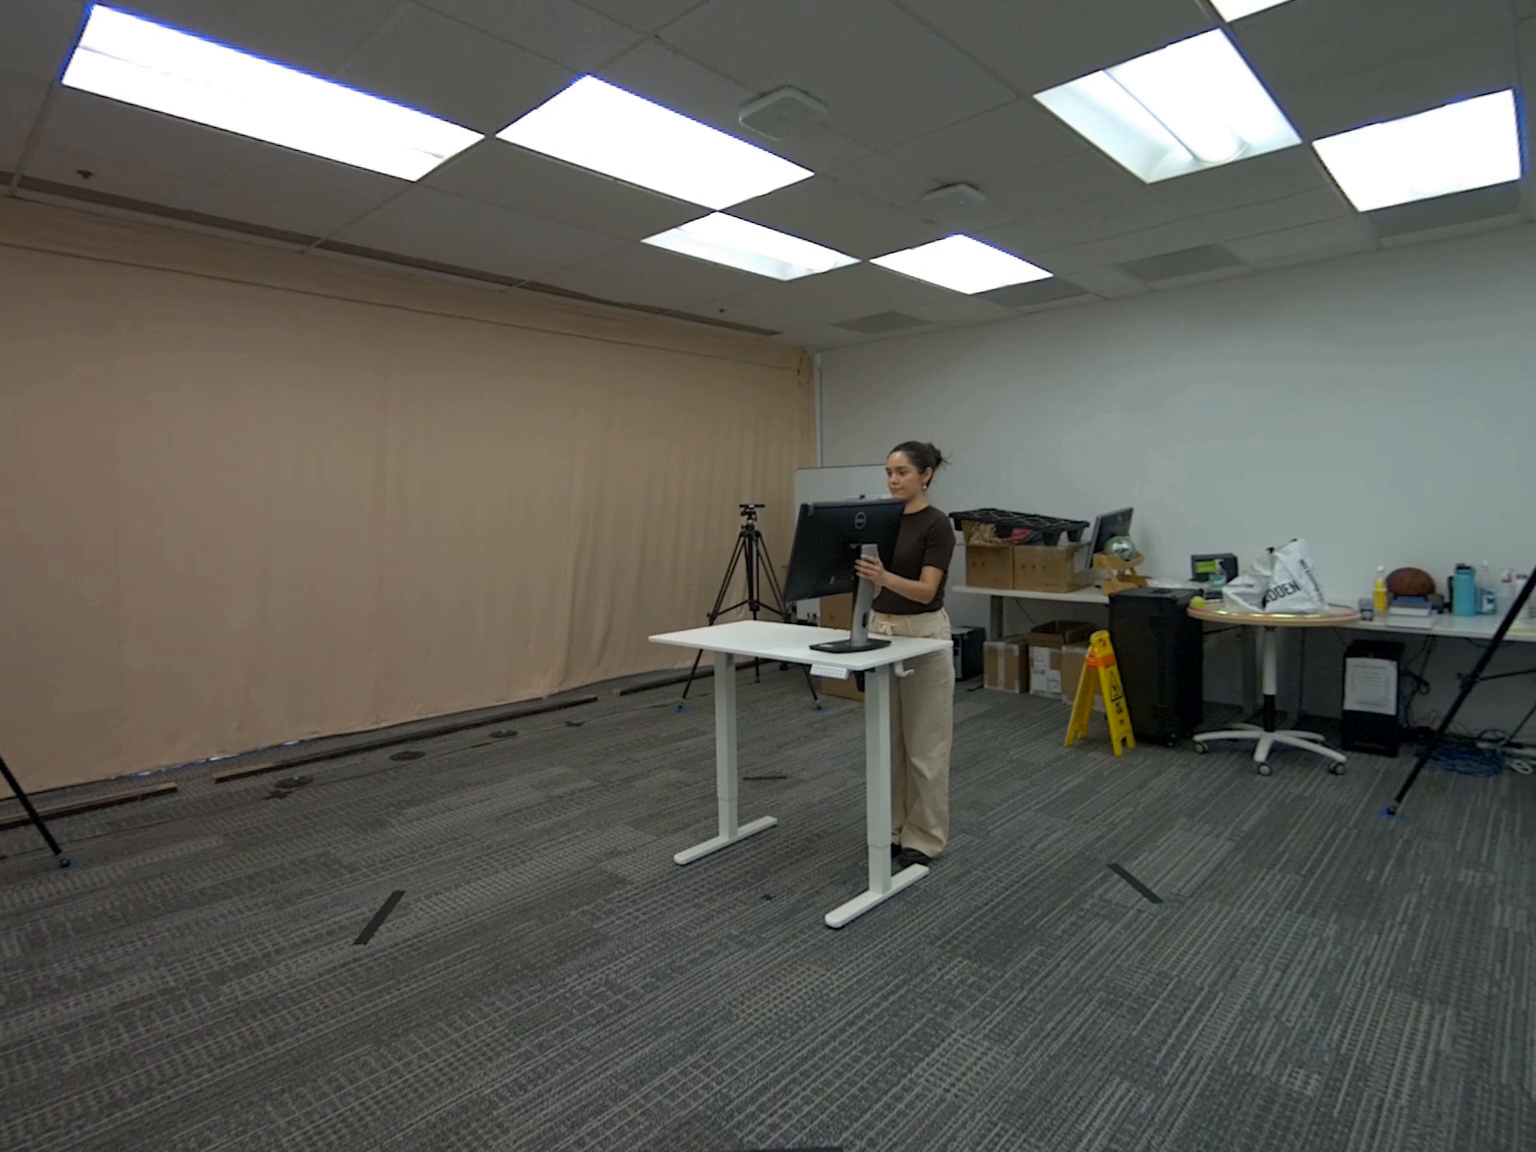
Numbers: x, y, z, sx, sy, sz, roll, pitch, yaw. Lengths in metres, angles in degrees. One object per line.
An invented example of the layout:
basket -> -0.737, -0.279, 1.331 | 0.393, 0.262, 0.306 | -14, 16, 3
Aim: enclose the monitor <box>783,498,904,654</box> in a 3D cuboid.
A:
monitor -> 0.309, 0.000, 2.934 | 0.523, 0.520, 0.193 | -5, 9, -39
